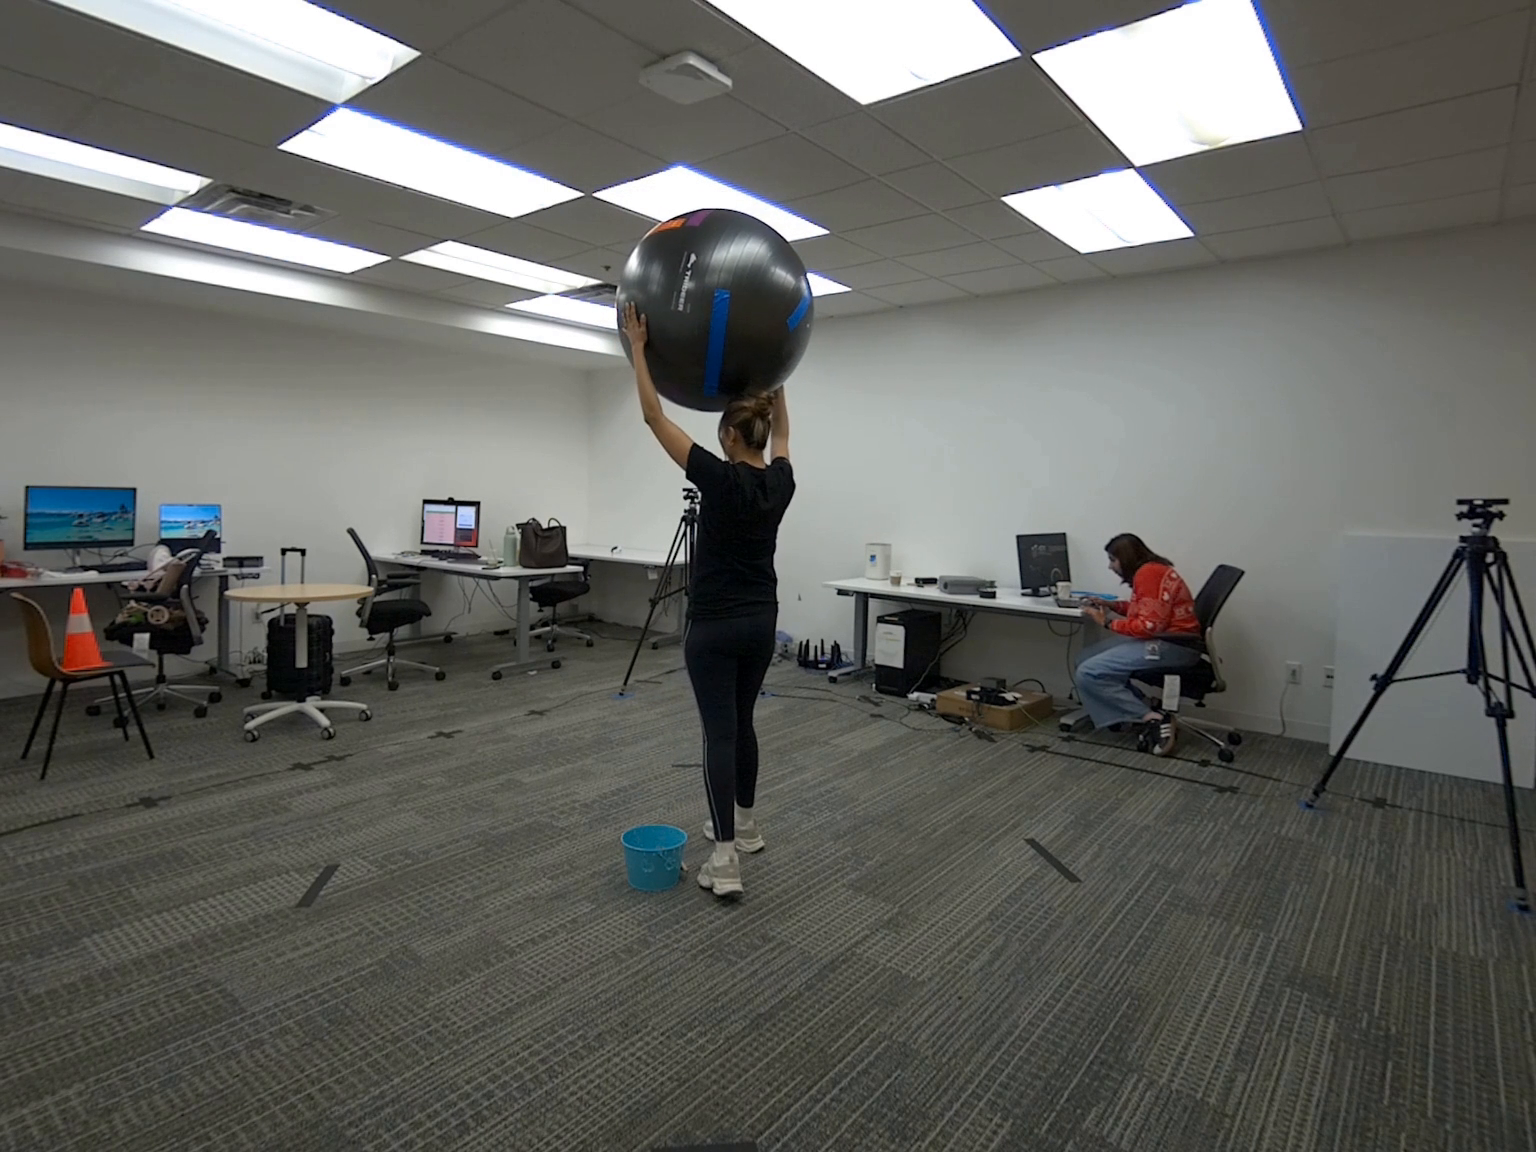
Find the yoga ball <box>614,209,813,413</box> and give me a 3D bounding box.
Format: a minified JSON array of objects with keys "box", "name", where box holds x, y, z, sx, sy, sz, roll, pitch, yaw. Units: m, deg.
[{"box":[-0.212,-1.008,3.255,0.757,0.755,0.762,1,4,-2],"name":"yoga ball"}]
